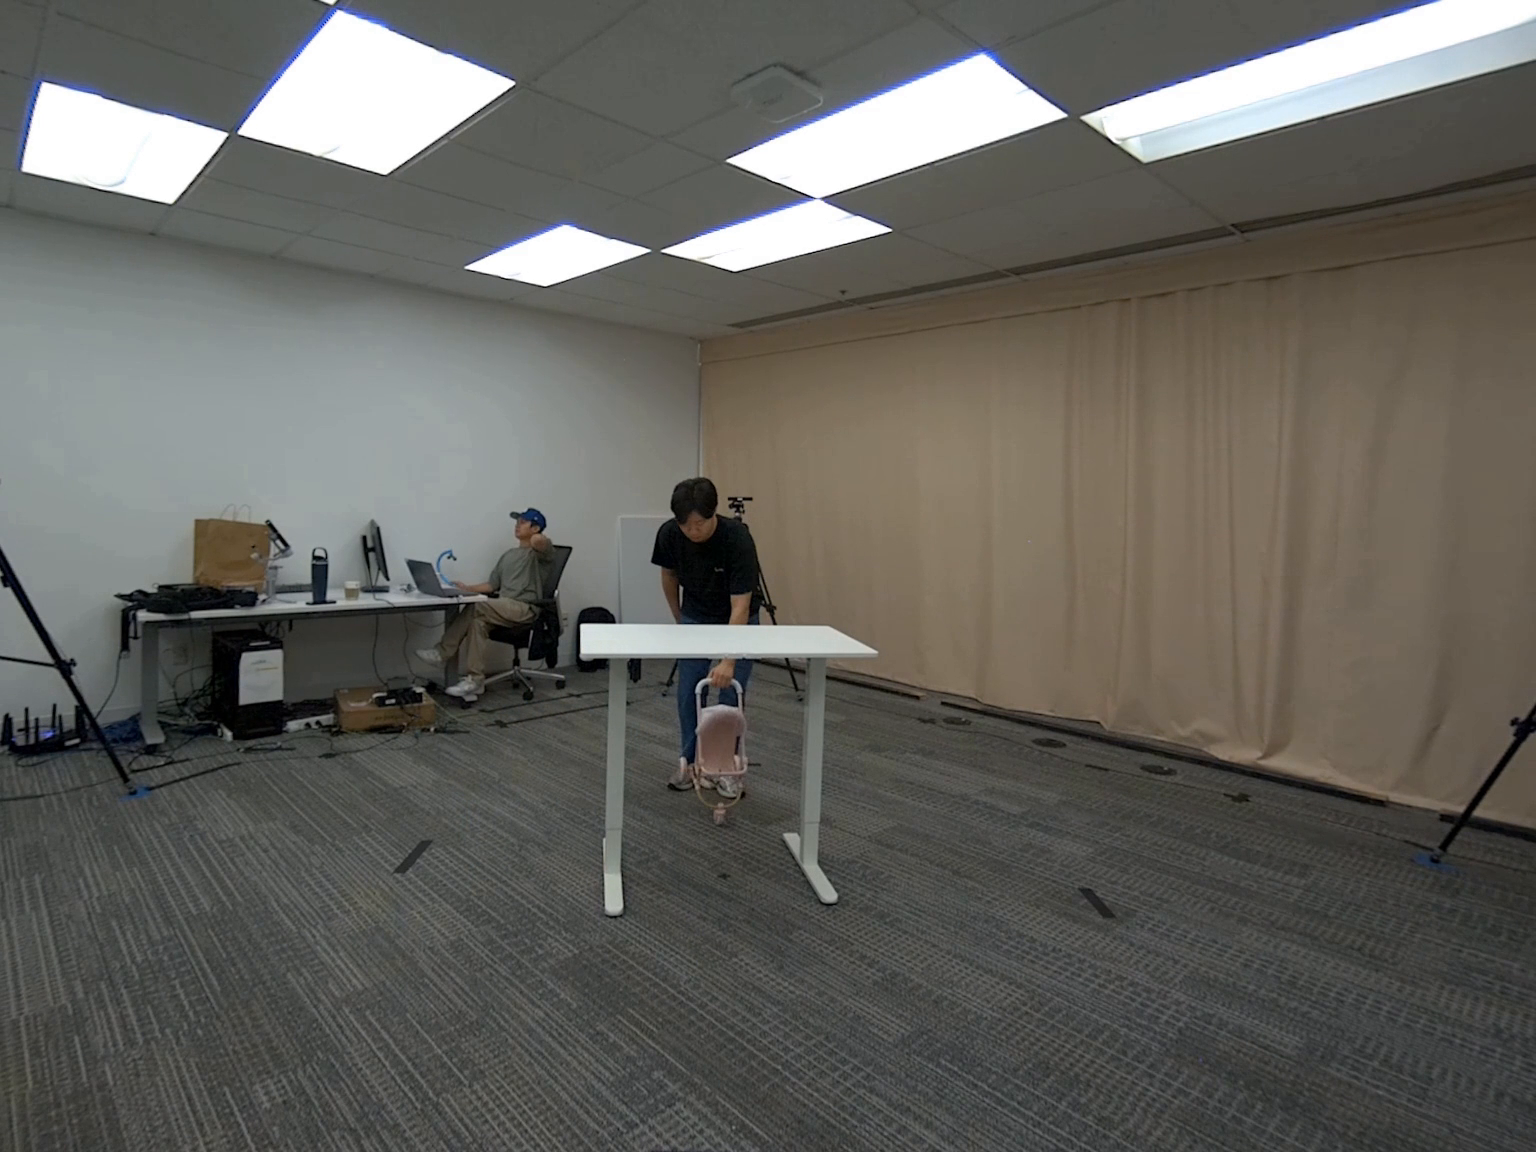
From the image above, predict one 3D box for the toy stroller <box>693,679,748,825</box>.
[{"bbox_3d":[-0.227,0.757,3.620,0.278,0.529,0.349,4,19,-13],"label":"toy stroller"}]
